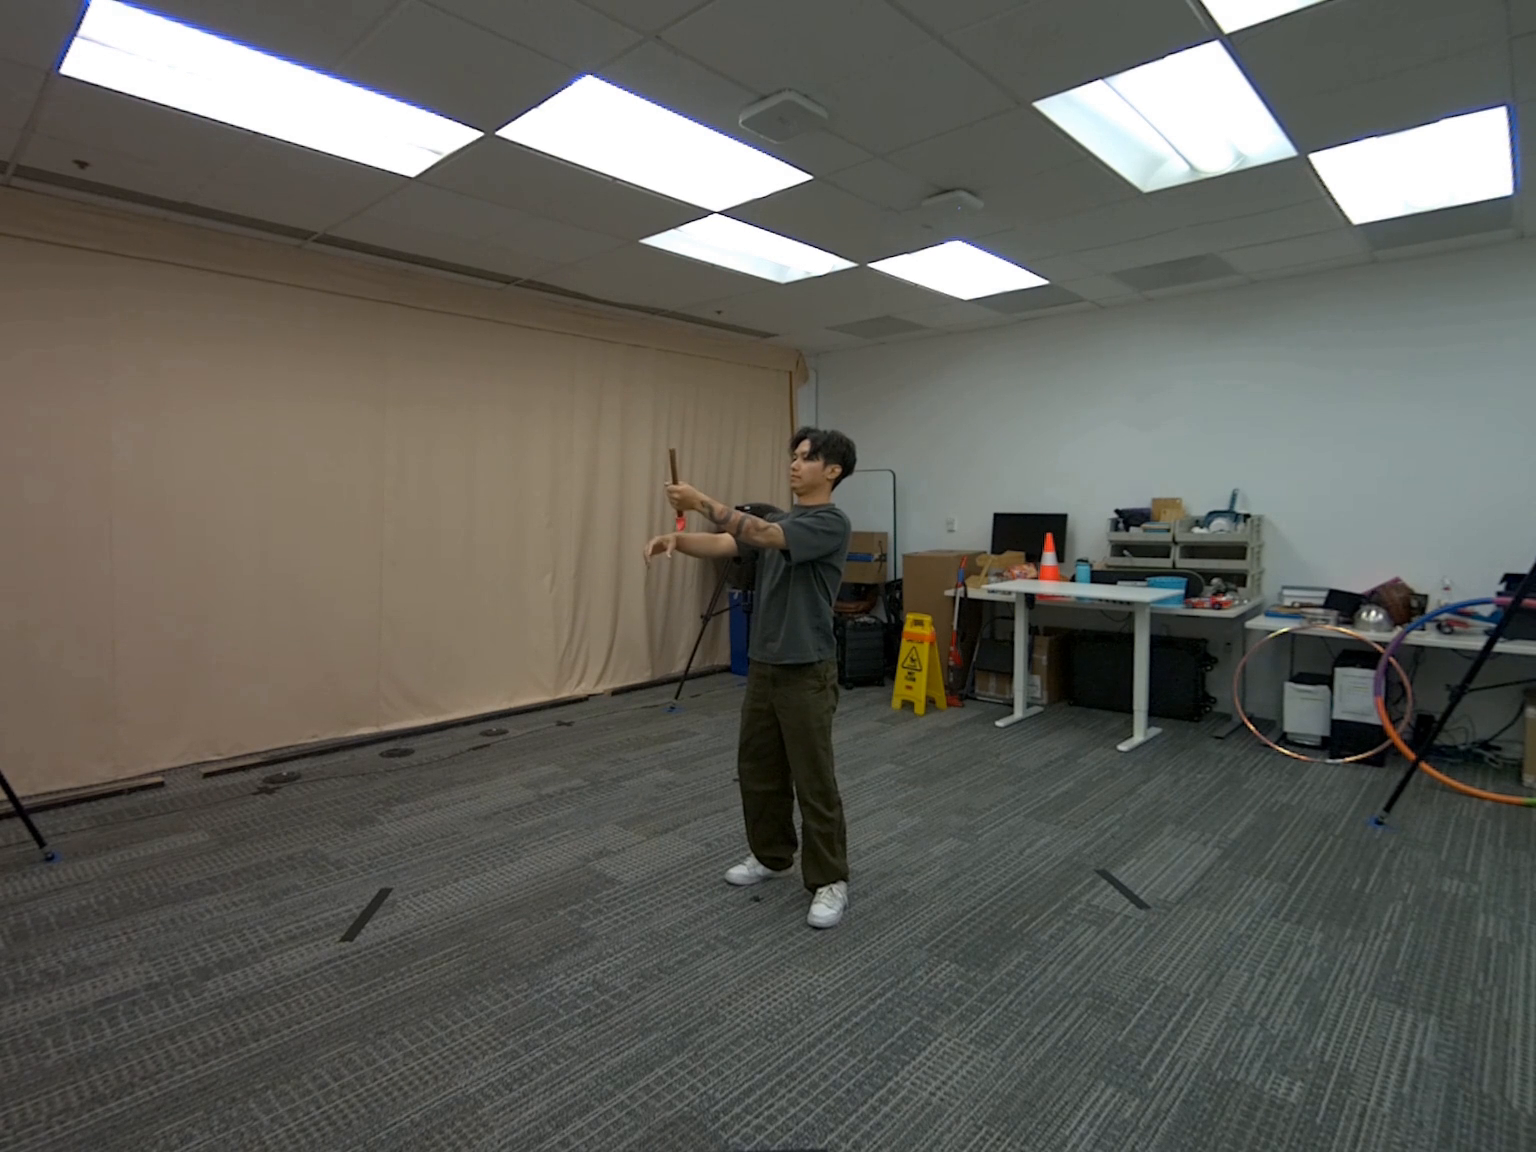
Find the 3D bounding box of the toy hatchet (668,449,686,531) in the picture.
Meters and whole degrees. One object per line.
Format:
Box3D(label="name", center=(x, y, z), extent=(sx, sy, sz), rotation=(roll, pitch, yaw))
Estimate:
Box3D(label="toy hatchet", center=(-0.289, -0.282, 2.732), extent=(0.030, 0.268, 0.131), rotation=(-5, 10, 3))
